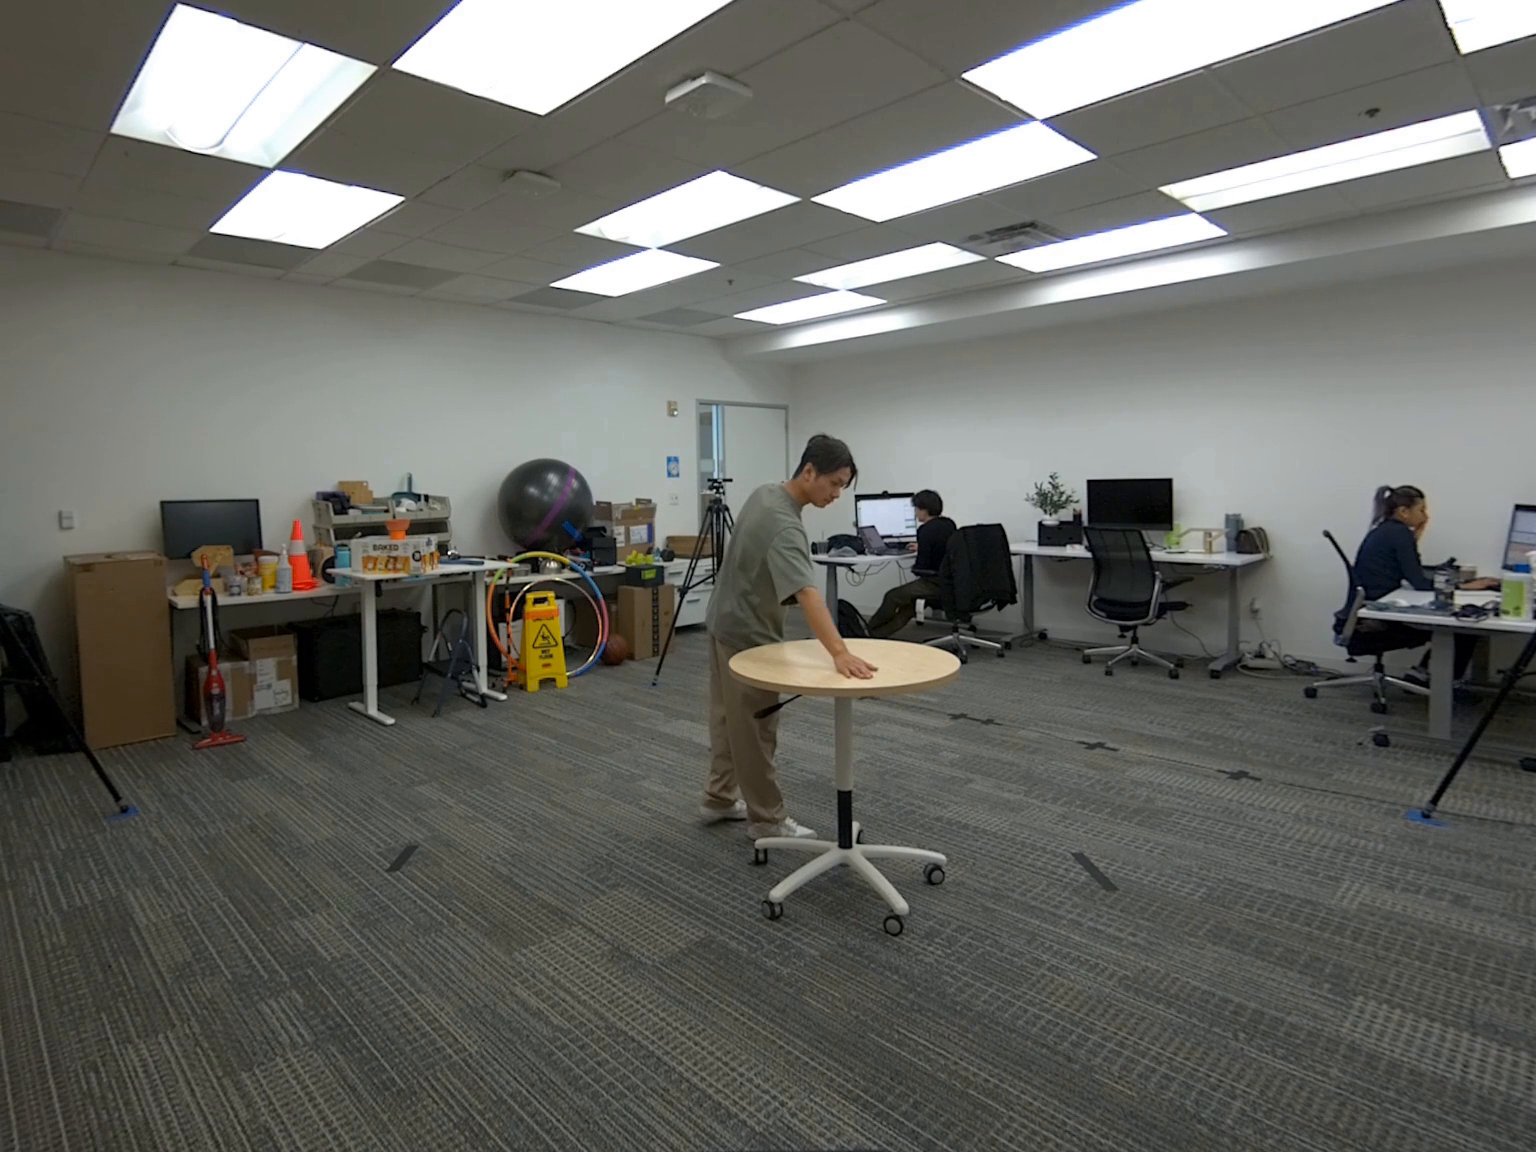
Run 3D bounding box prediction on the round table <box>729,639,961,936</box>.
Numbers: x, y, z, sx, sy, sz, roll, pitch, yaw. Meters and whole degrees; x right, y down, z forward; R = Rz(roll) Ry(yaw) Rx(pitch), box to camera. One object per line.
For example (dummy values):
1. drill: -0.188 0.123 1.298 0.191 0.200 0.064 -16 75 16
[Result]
1. round table: 0.269 0.676 2.892 0.763 0.791 0.768 -1 5 -2
